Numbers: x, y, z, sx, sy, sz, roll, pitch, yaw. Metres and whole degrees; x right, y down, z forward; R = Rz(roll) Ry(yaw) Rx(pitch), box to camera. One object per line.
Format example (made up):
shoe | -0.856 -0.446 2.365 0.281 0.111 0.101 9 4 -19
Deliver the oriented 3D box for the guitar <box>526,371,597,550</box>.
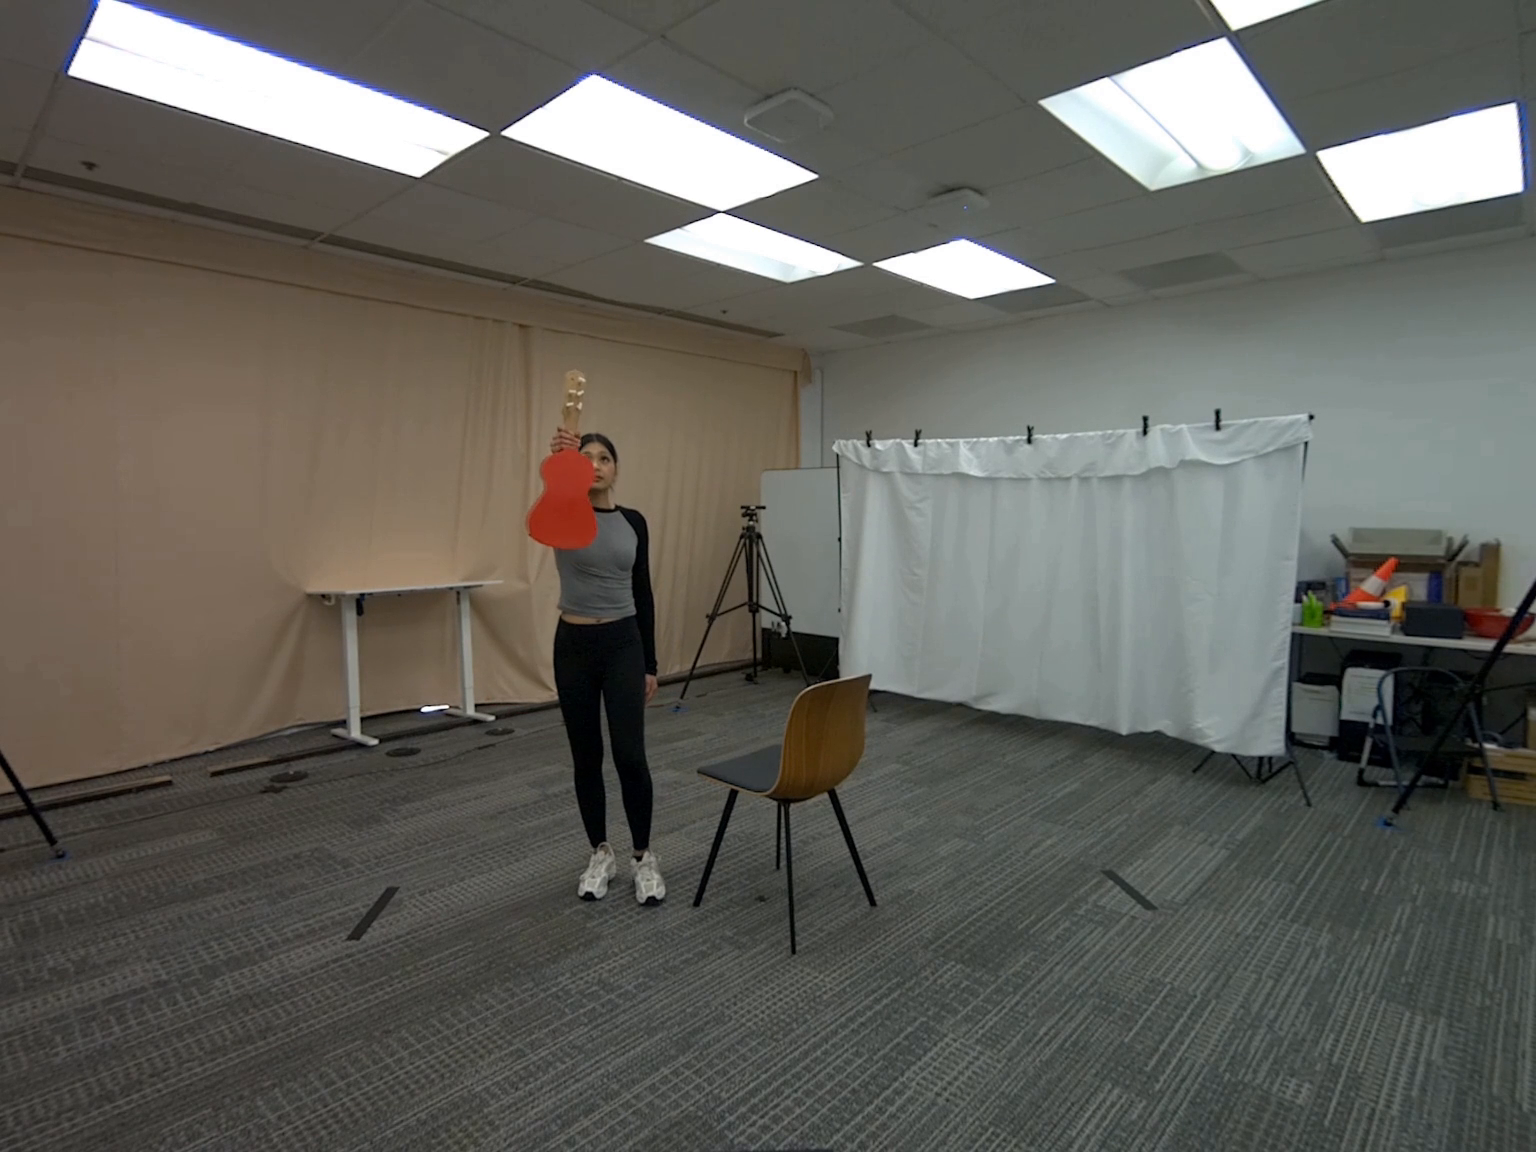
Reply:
guitar | -0.588 -0.317 2.360 0.189 0.496 0.072 -4 5 -19
